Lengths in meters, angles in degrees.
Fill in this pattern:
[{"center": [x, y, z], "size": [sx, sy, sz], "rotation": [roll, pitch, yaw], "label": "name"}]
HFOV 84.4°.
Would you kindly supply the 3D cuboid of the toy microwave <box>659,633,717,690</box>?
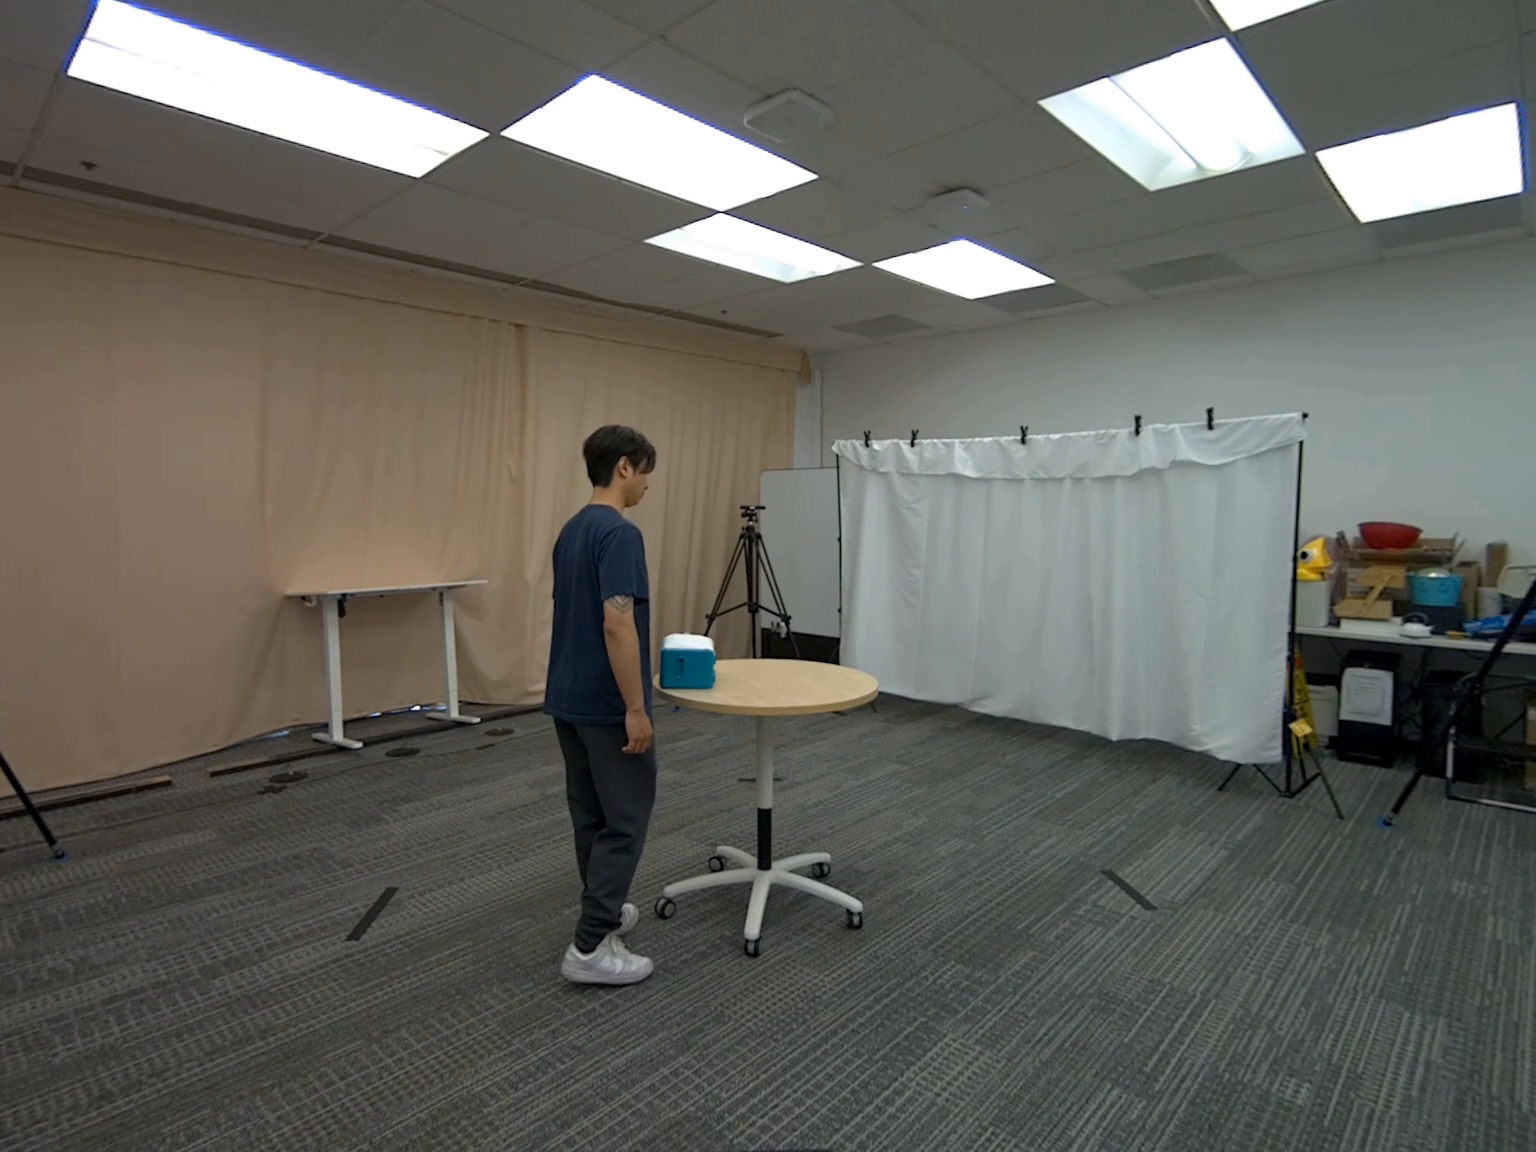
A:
[{"center": [-0.265, 0.281, 2.859], "size": [0.184, 0.152, 0.287], "rotation": [2, 5, -3], "label": "toy microwave"}]
